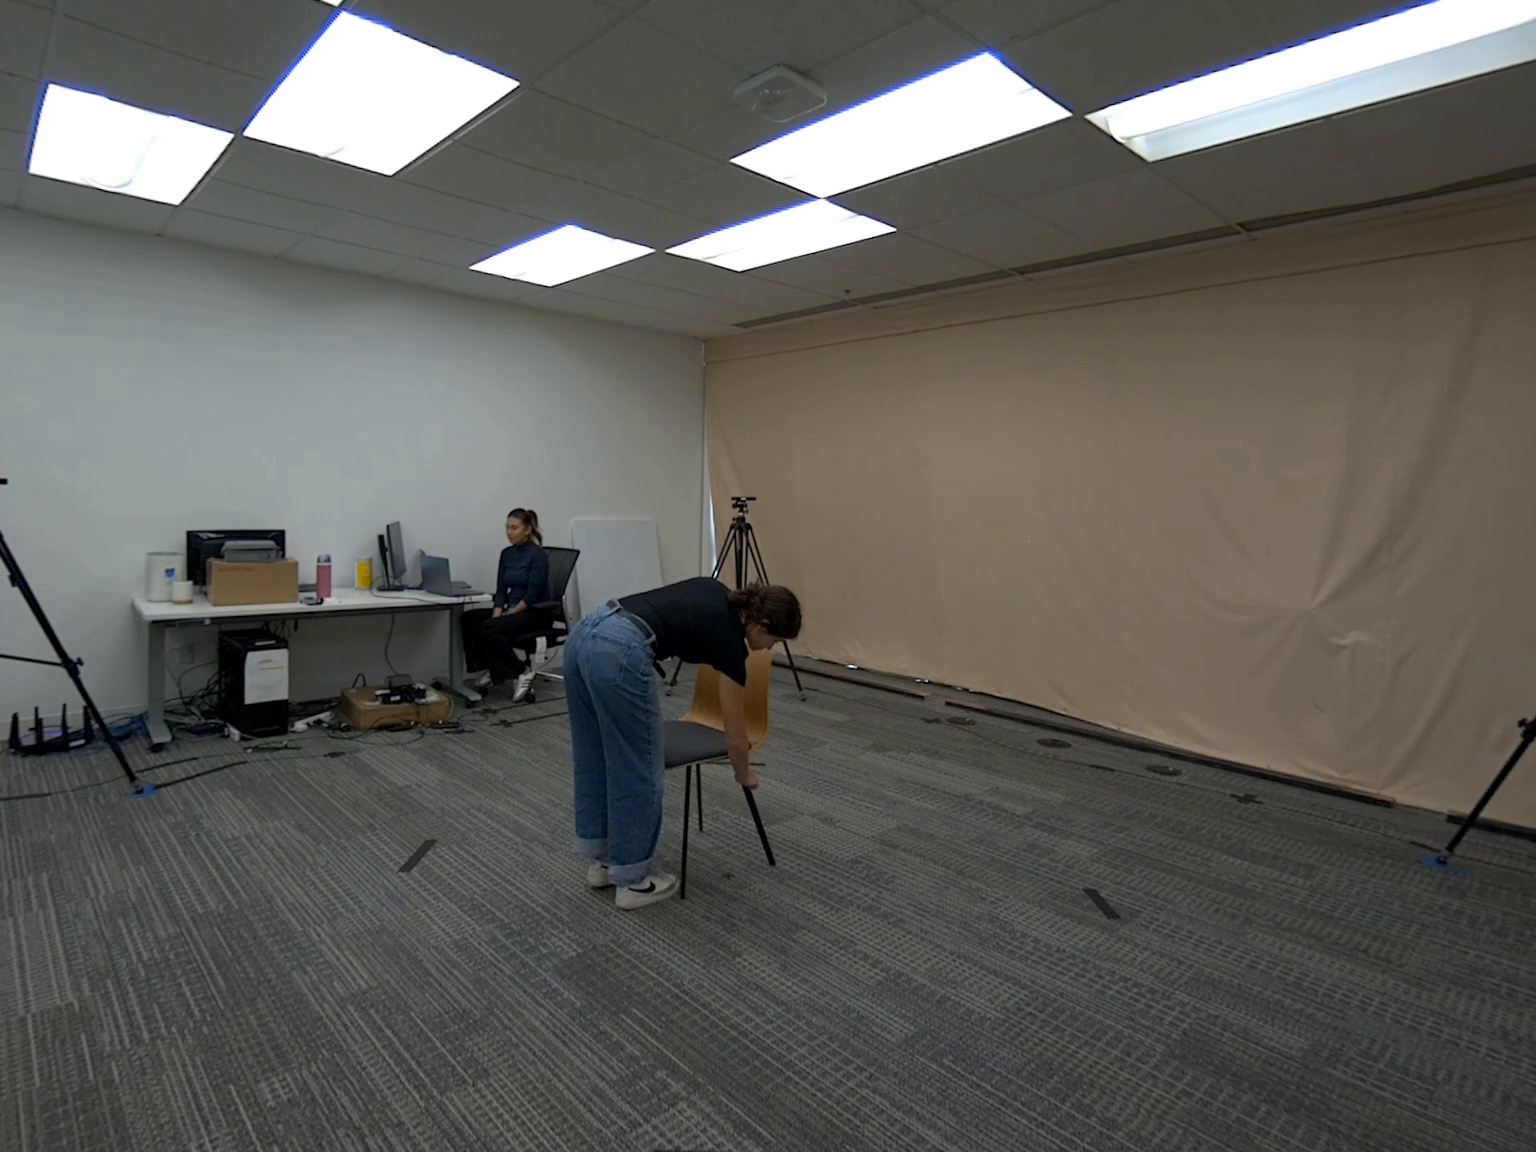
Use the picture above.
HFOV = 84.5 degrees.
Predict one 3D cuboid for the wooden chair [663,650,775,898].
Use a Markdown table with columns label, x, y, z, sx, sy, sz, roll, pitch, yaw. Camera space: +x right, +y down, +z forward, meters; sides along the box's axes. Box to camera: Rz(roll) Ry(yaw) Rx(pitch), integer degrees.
| label | x | y | z | sx | sy | sz | roll | pitch | yaw |
| --- | --- | --- | --- | --- | --- | --- | --- | --- | --- |
| wooden chair | -0.288 | 0.670 | 3.191 | 0.510 | 0.877 | 0.490 | 3 | 1 | -42 |
